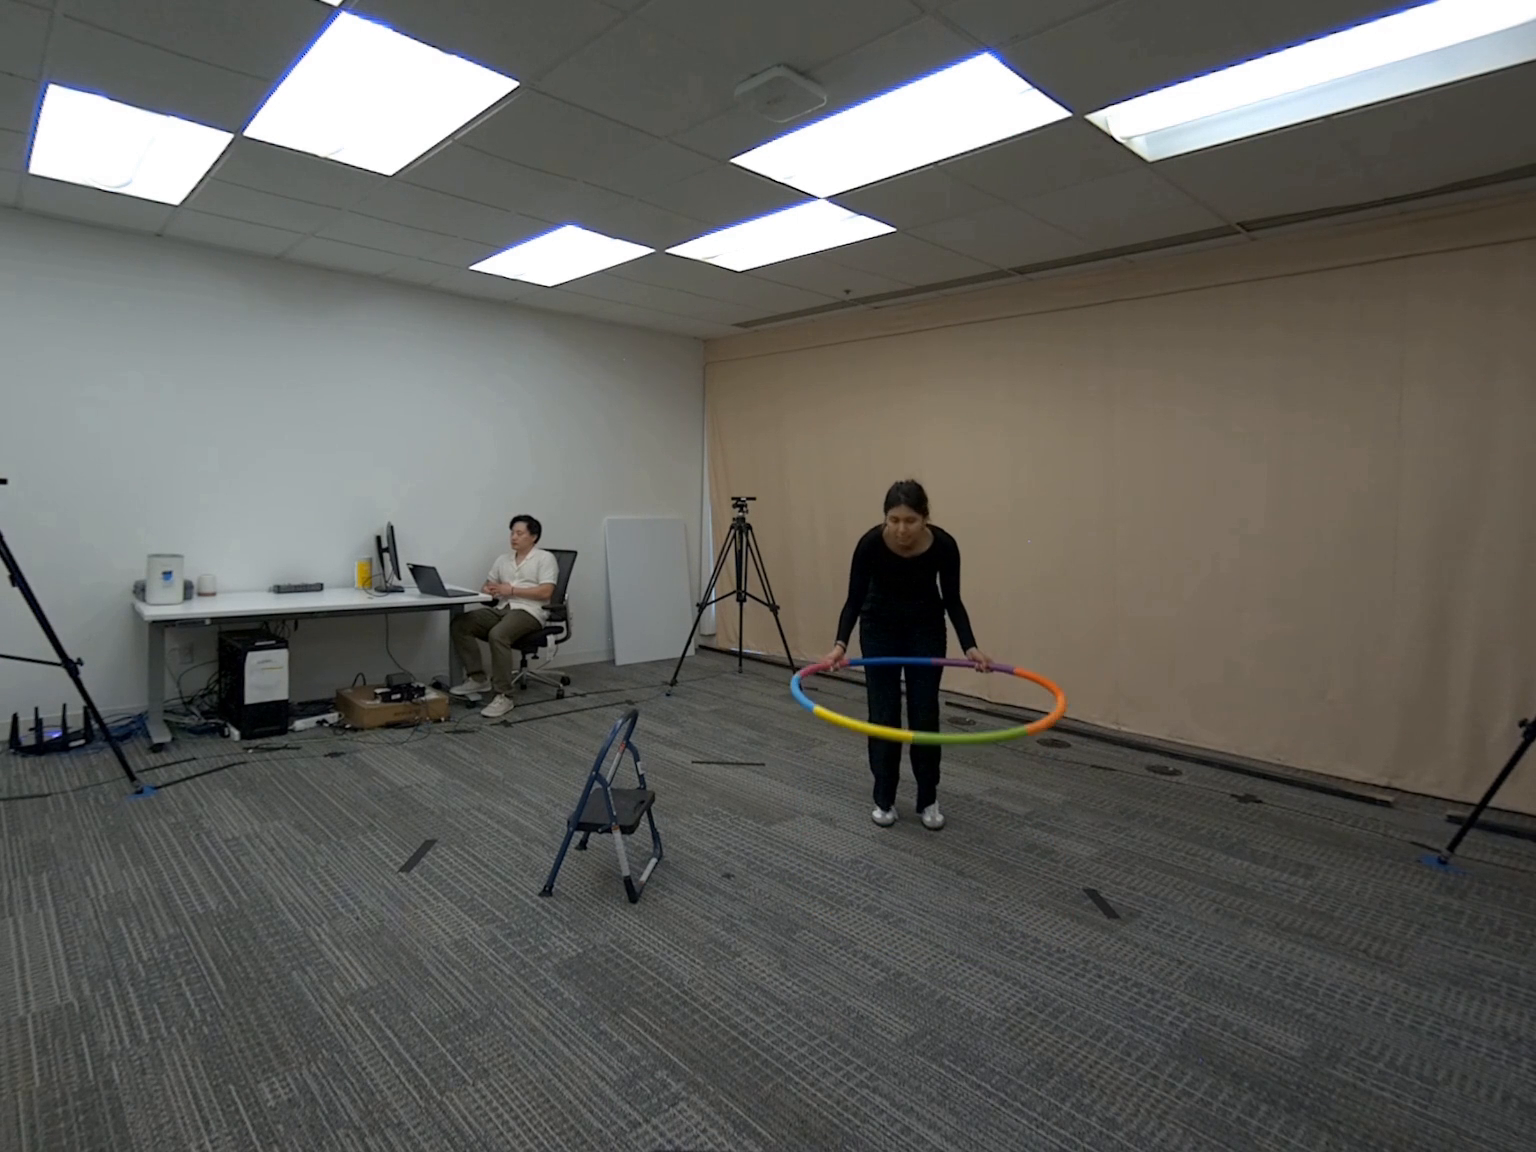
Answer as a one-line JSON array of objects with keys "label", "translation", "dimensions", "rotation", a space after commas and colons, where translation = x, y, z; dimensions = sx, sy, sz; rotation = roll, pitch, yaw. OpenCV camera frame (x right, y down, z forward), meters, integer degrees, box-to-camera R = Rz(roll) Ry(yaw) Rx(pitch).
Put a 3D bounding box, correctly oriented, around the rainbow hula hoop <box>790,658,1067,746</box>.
[{"label": "rainbow hula hoop", "translation": [0.575, 0.431, 3.108], "dimensions": [0.978, 0.035, 0.985], "rotation": [0, 9, -1]}]
